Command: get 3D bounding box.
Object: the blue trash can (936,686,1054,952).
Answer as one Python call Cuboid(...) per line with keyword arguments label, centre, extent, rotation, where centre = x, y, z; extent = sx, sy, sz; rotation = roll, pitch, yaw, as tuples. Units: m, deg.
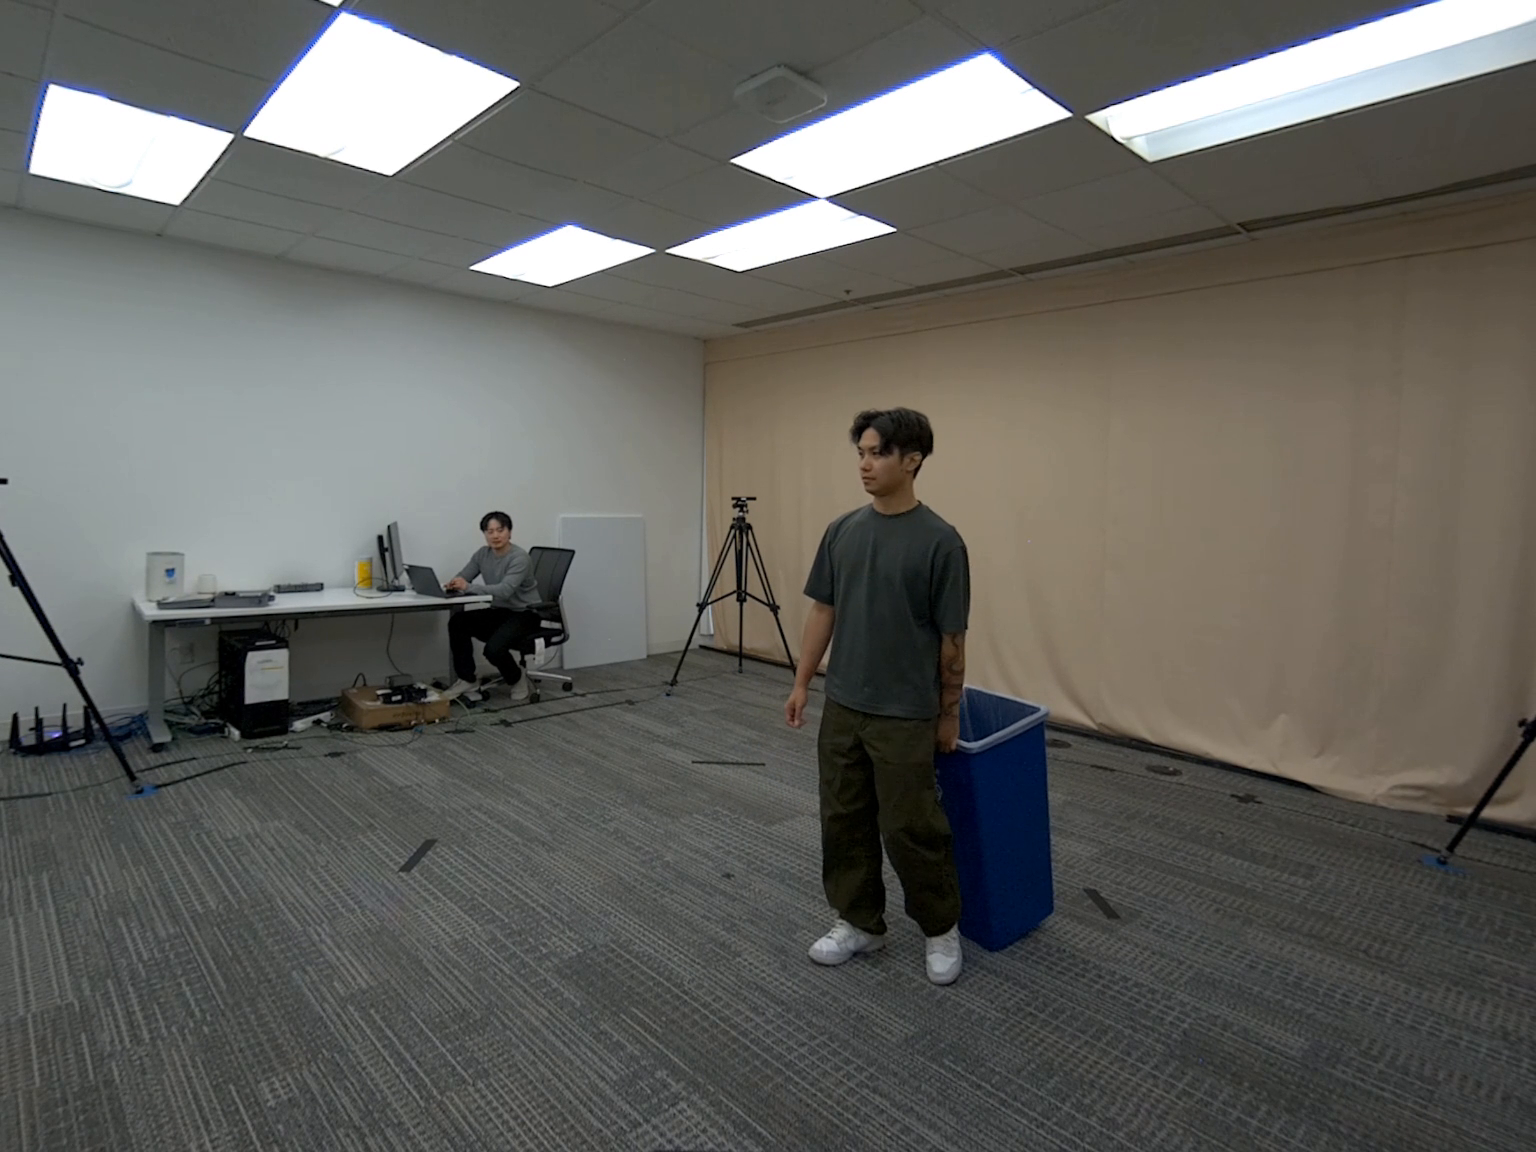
Cuboid(label="blue trash can", centre=(0.687, 0.777, 2.751), extent=(0.372, 0.707, 0.383), rotation=(-15, 12, -32))
